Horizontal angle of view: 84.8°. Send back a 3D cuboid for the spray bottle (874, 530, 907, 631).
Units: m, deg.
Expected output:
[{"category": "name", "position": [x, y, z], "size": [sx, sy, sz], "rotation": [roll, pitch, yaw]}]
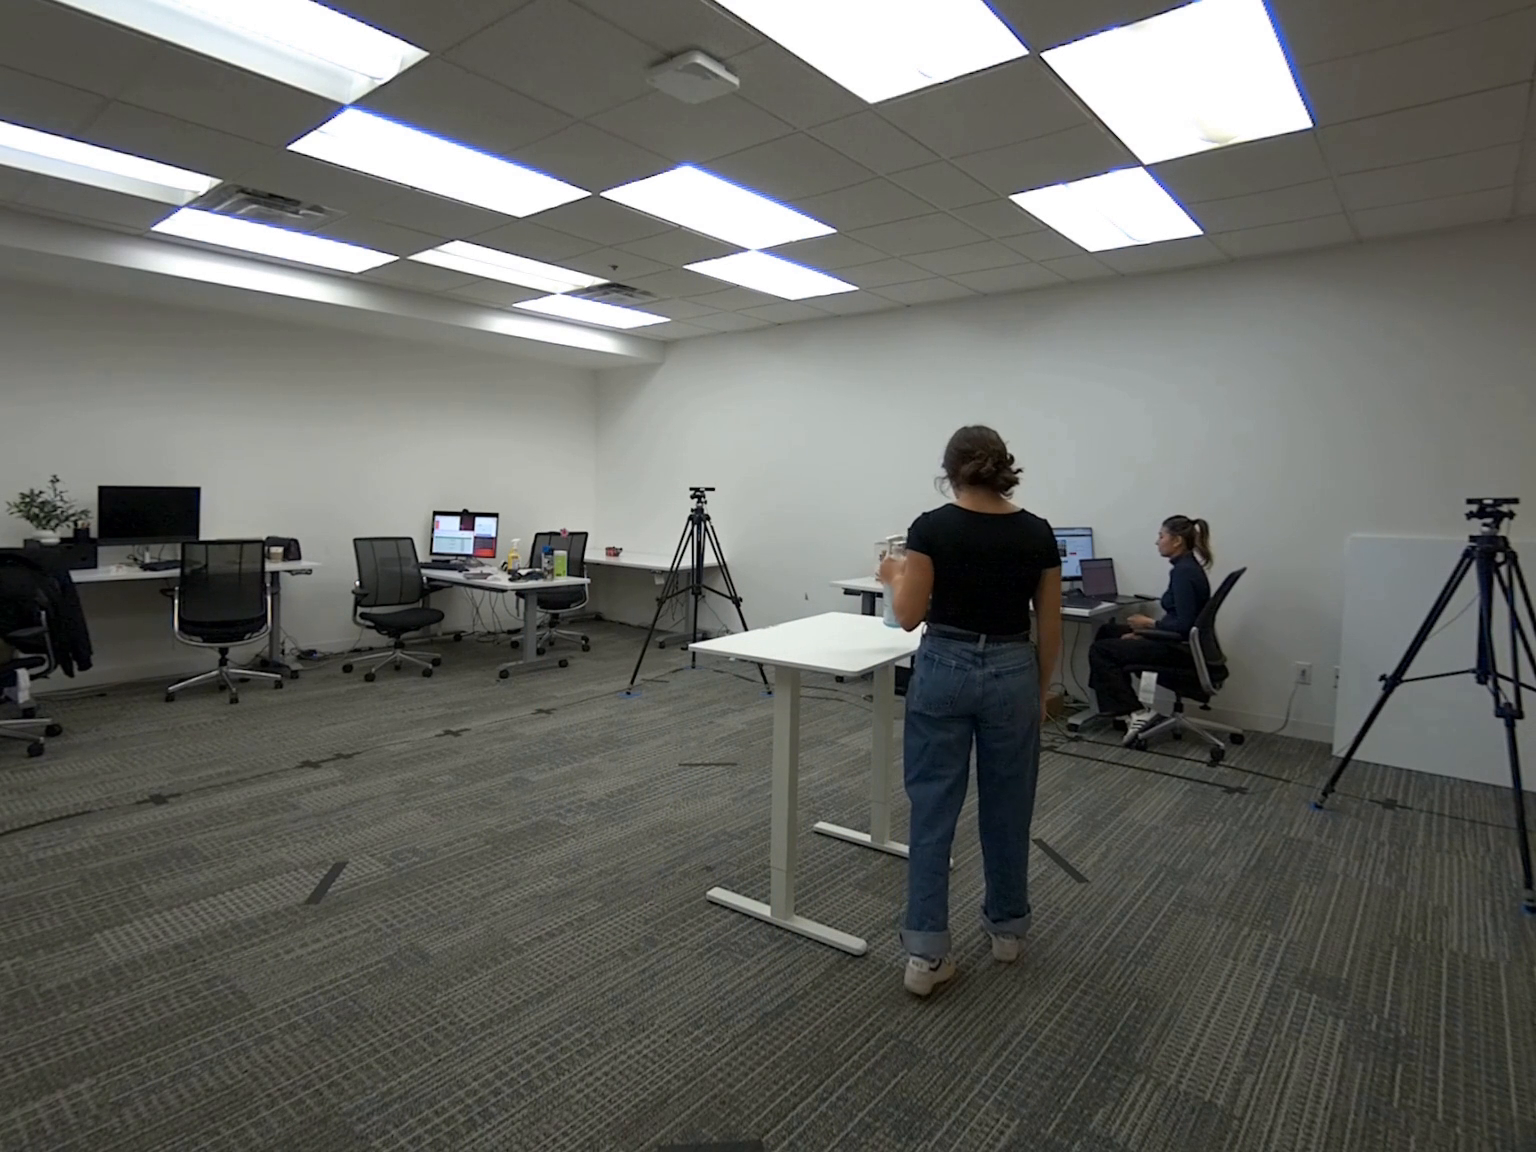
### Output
[{"category": "spray bottle", "position": [0.404, 0.013, 2.691], "size": [0.089, 0.293, 0.089], "rotation": [-7, 15, -15]}]
